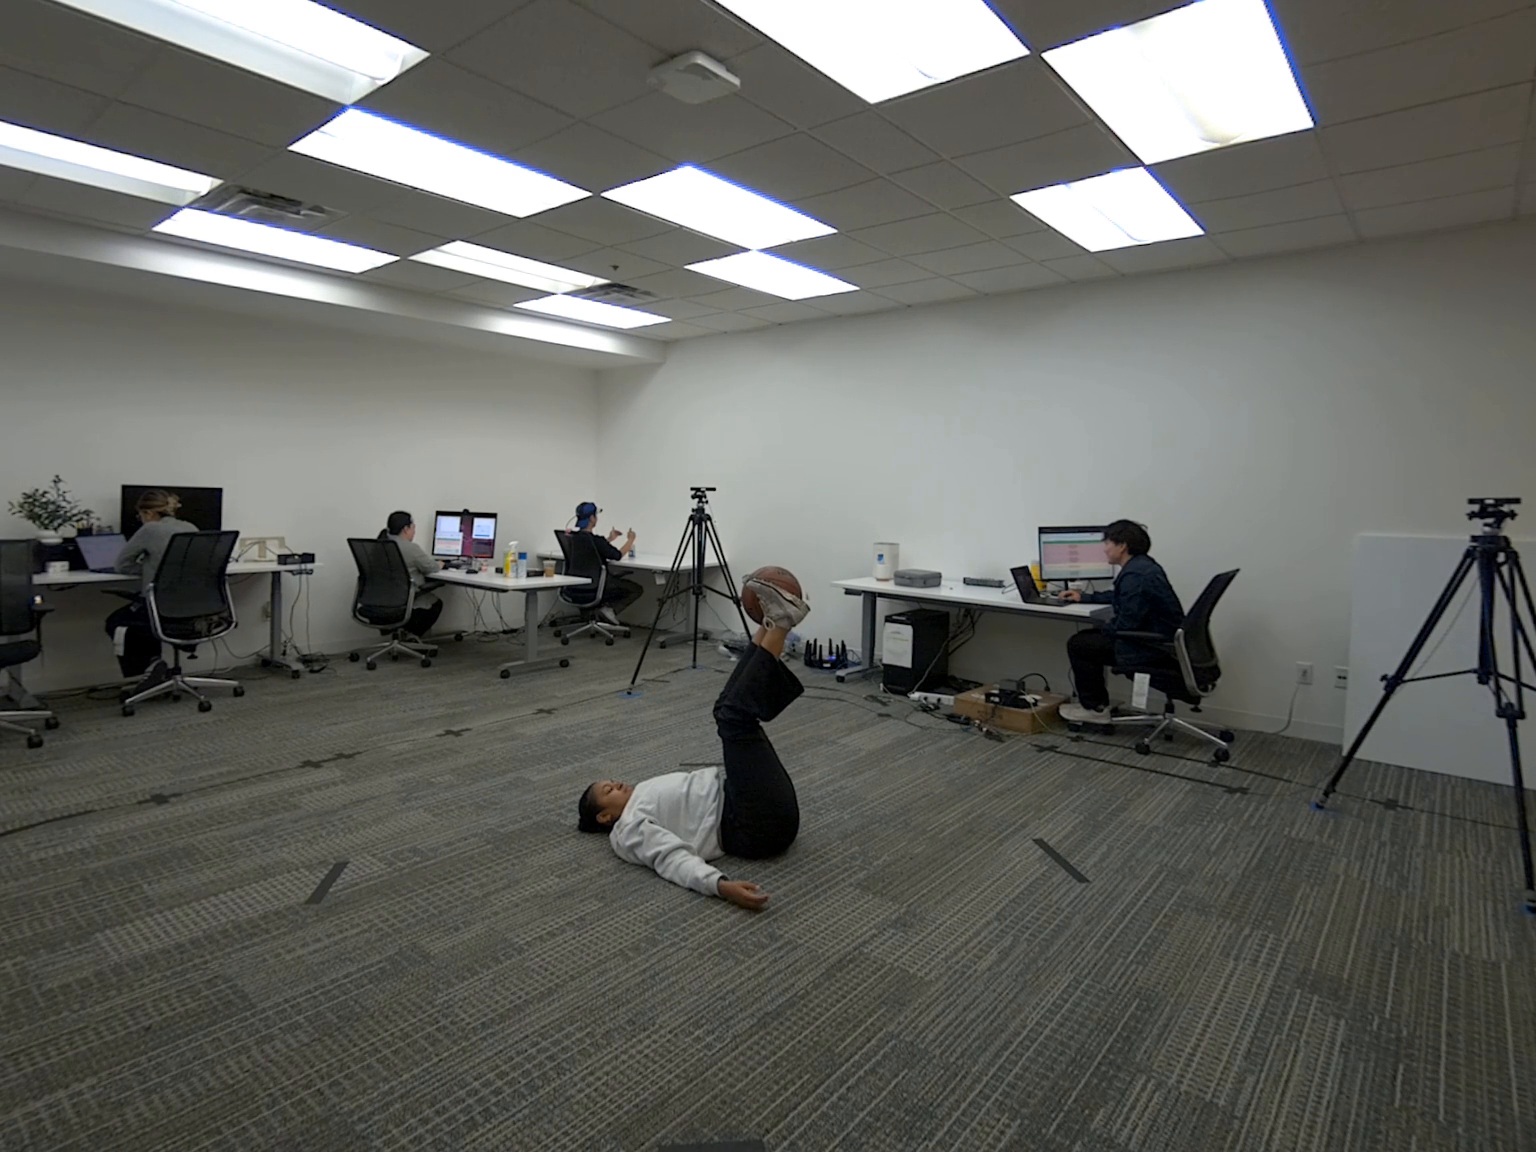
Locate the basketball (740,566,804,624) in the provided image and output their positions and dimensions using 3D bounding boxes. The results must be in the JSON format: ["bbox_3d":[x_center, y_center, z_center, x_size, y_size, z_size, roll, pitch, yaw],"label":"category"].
[{"bbox_3d":[0.015,0.077,3.323,0.236,0.234,0.238,-2,8,-2],"label":"basketball"}]
